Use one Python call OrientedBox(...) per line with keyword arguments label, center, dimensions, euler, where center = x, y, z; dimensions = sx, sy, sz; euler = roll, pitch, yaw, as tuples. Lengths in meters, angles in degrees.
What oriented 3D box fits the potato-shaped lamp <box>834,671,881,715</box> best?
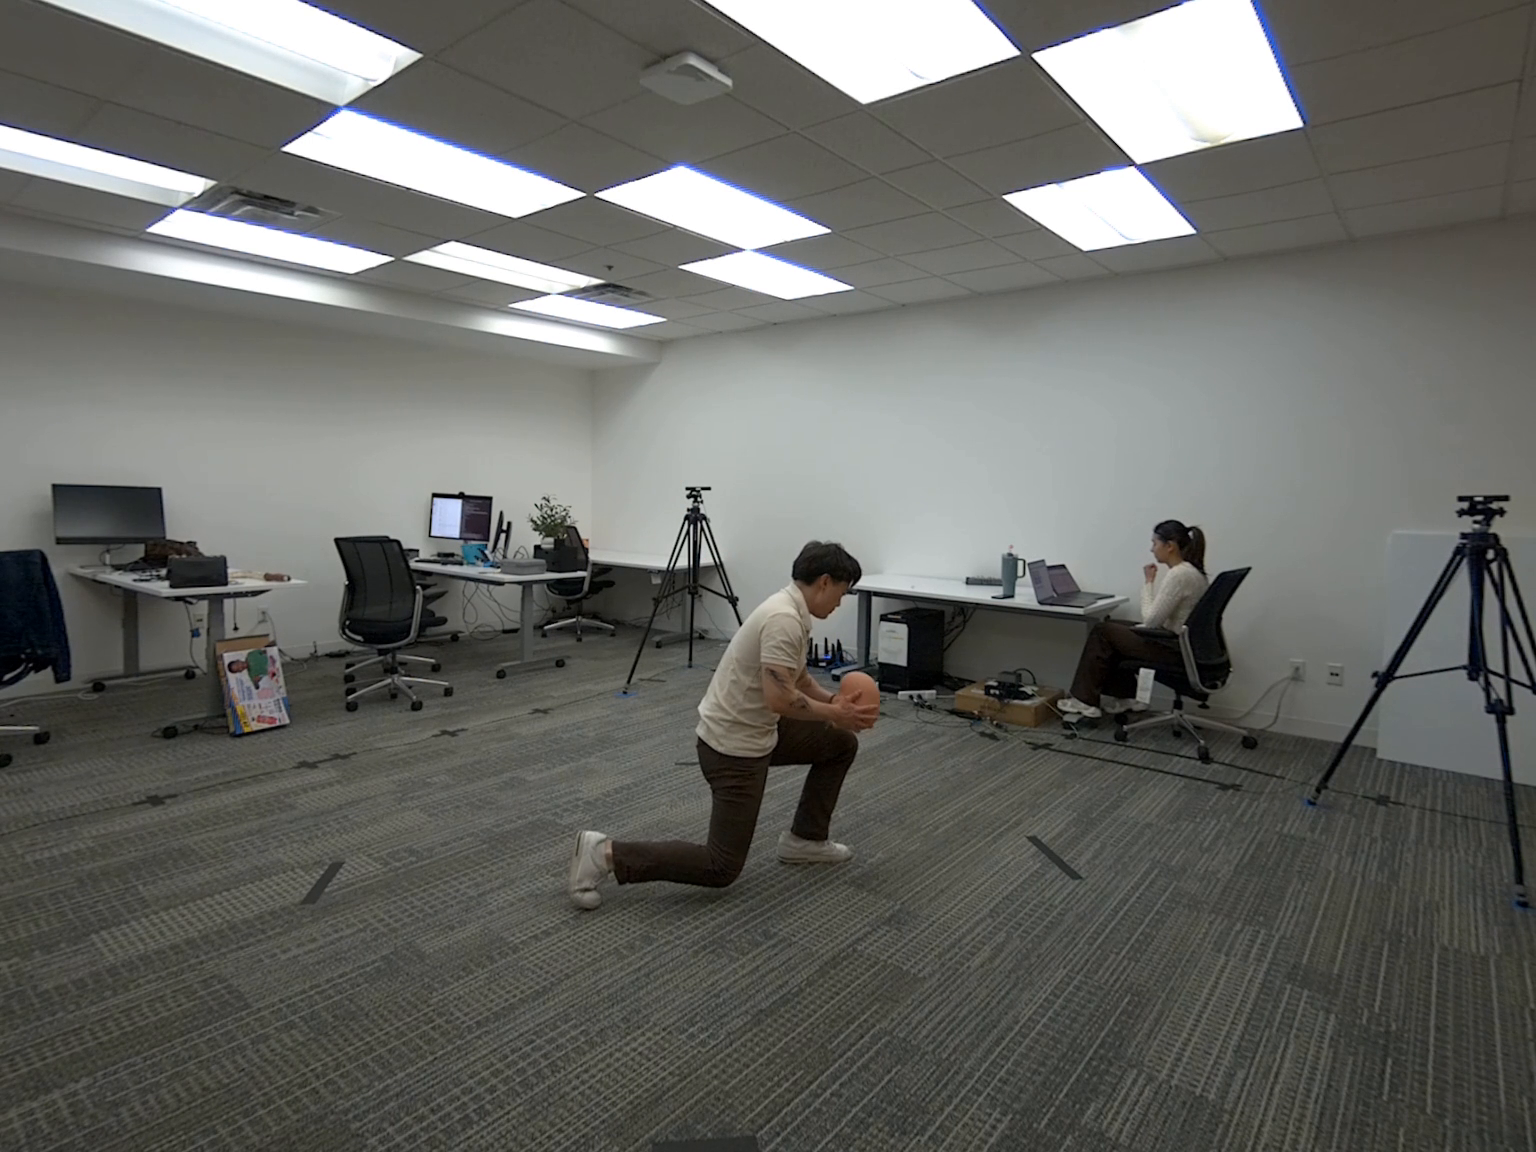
OrientedBox(label="potato-shaped lamp", center=(0.297, 0.423, 3.040), dimensions=(0.174, 0.198, 0.162), euler=(6, 1, 11))
